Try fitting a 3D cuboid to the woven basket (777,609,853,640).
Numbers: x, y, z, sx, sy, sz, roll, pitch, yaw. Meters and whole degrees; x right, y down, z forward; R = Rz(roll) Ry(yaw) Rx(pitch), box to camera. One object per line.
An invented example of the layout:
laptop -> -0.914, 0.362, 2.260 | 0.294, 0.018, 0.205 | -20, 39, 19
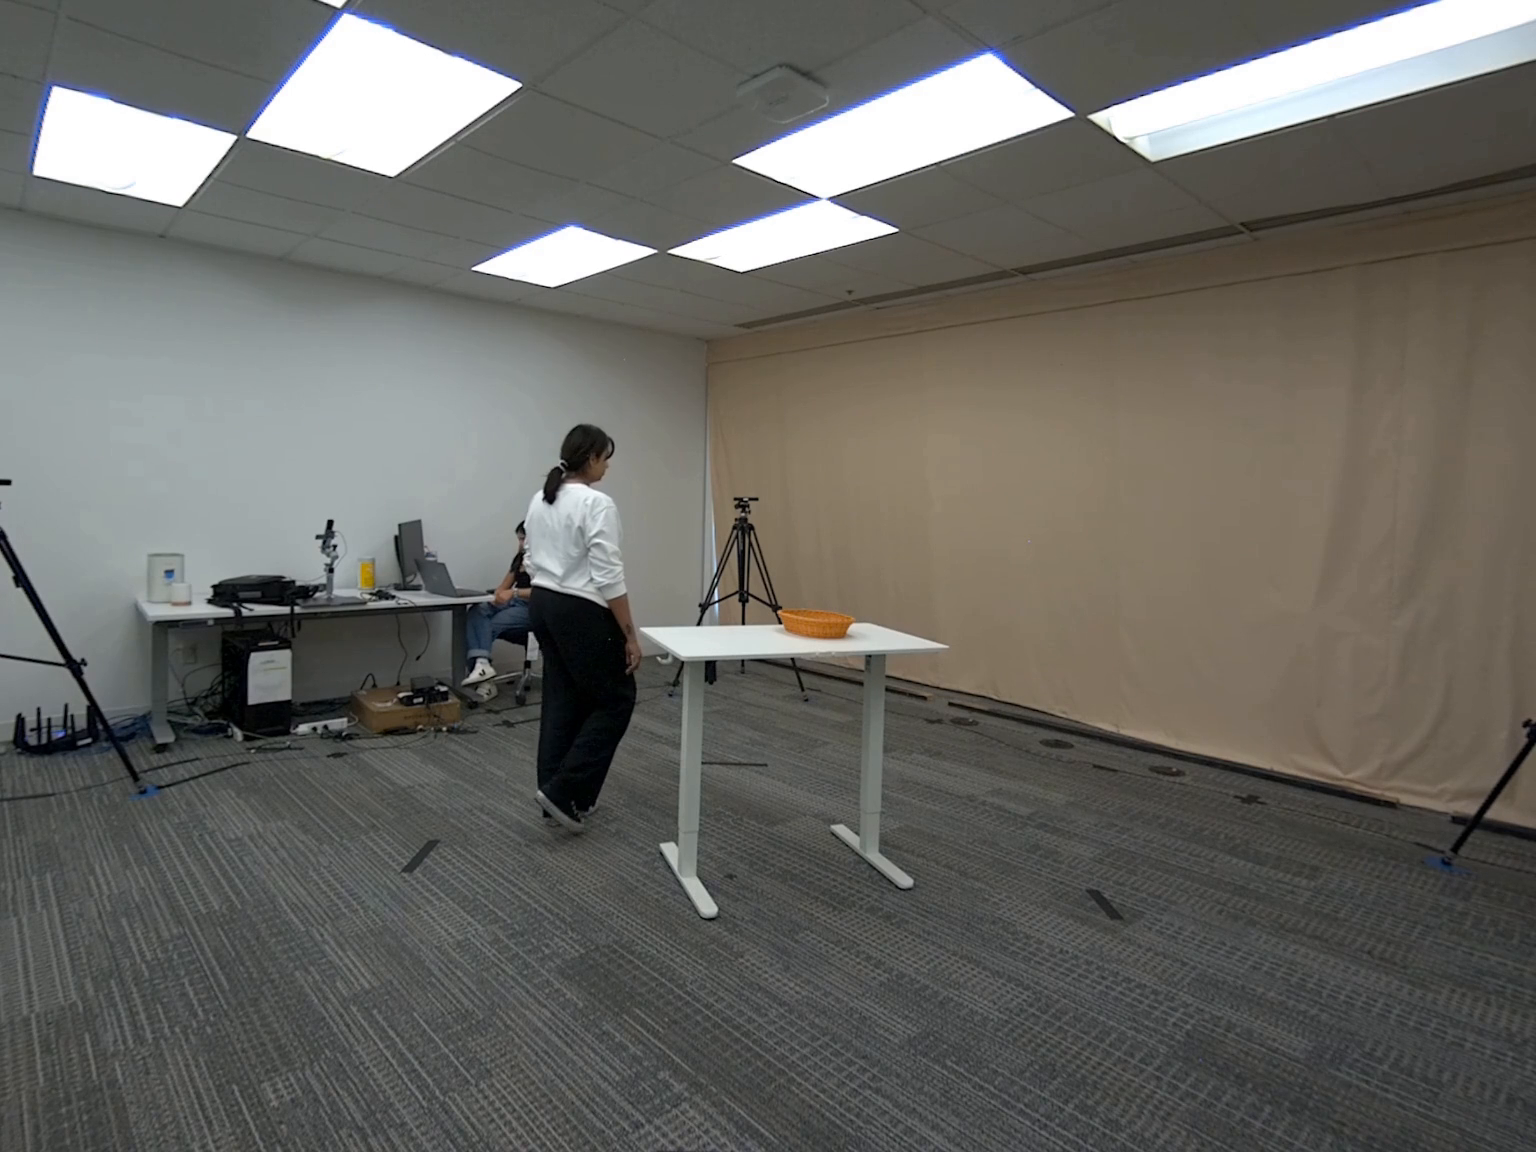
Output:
woven basket -> 0.174, 0.187, 3.253 | 0.247, 0.073, 0.358 | 0, 6, -28
